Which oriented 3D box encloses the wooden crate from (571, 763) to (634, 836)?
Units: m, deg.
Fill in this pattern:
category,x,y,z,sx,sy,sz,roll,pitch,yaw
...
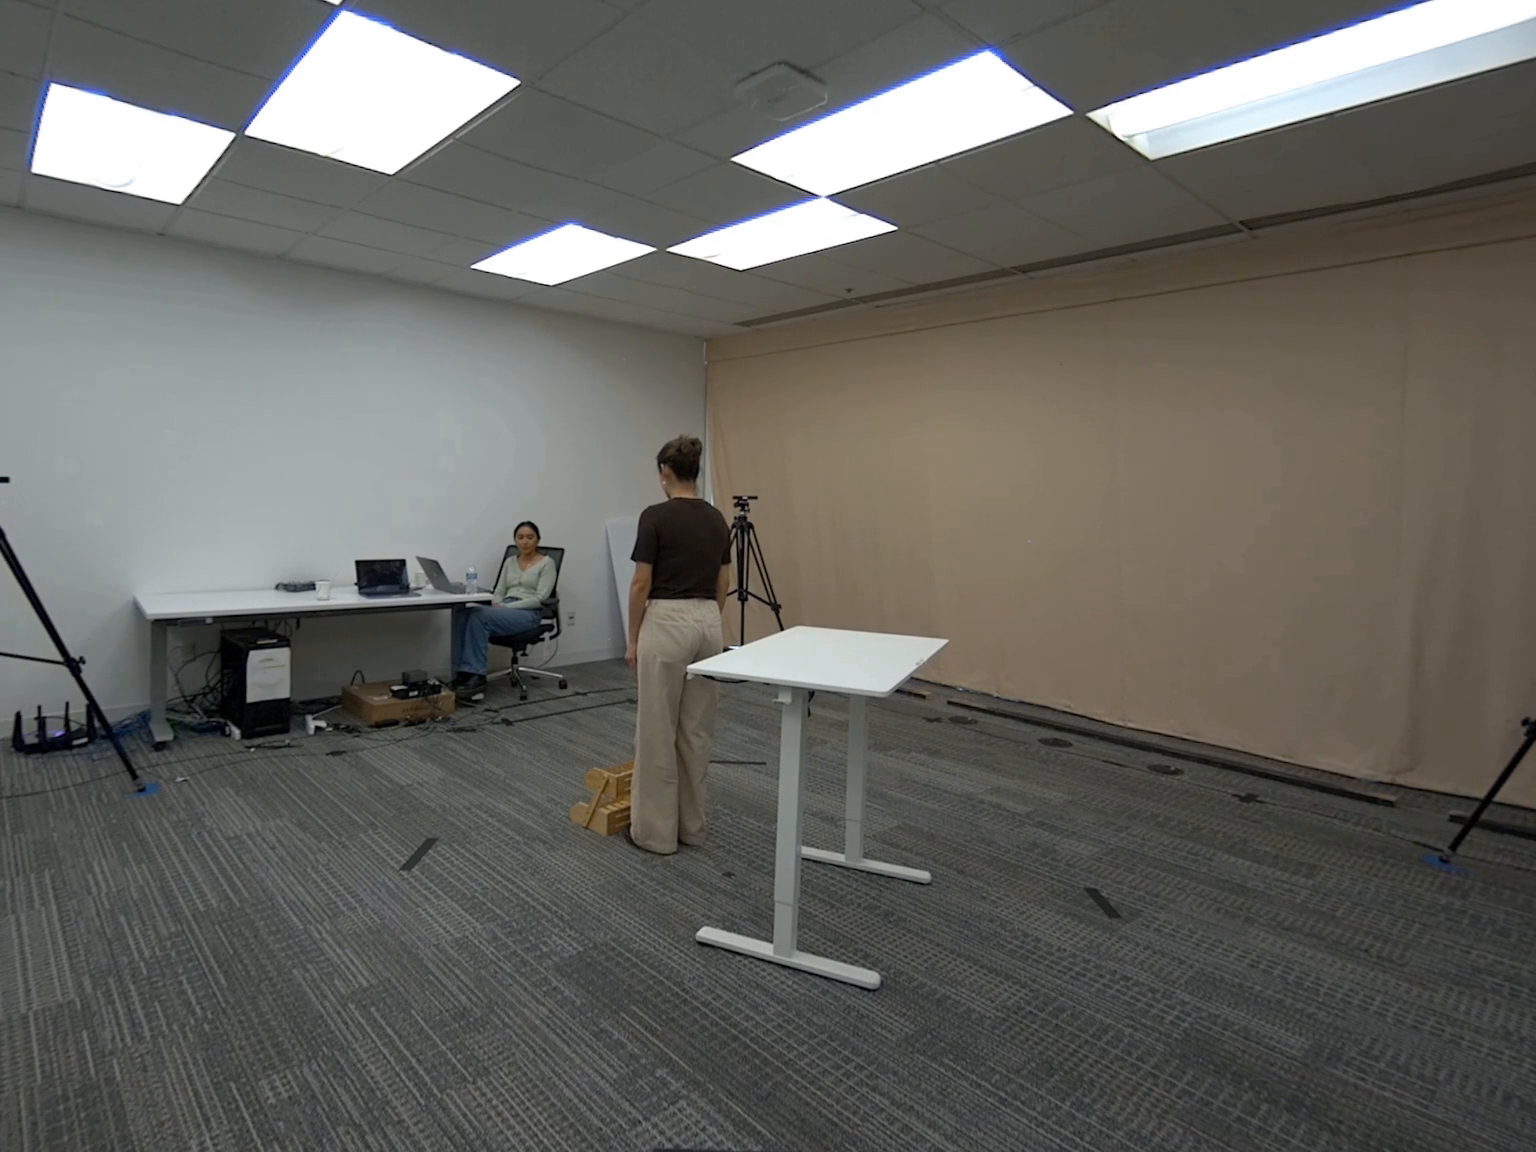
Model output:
category,x,y,z,sx,sy,sz,roll,pitch,yaw
wooden crate,-0.645,0.916,3.604,0.310,0.272,0.317,6,6,40
